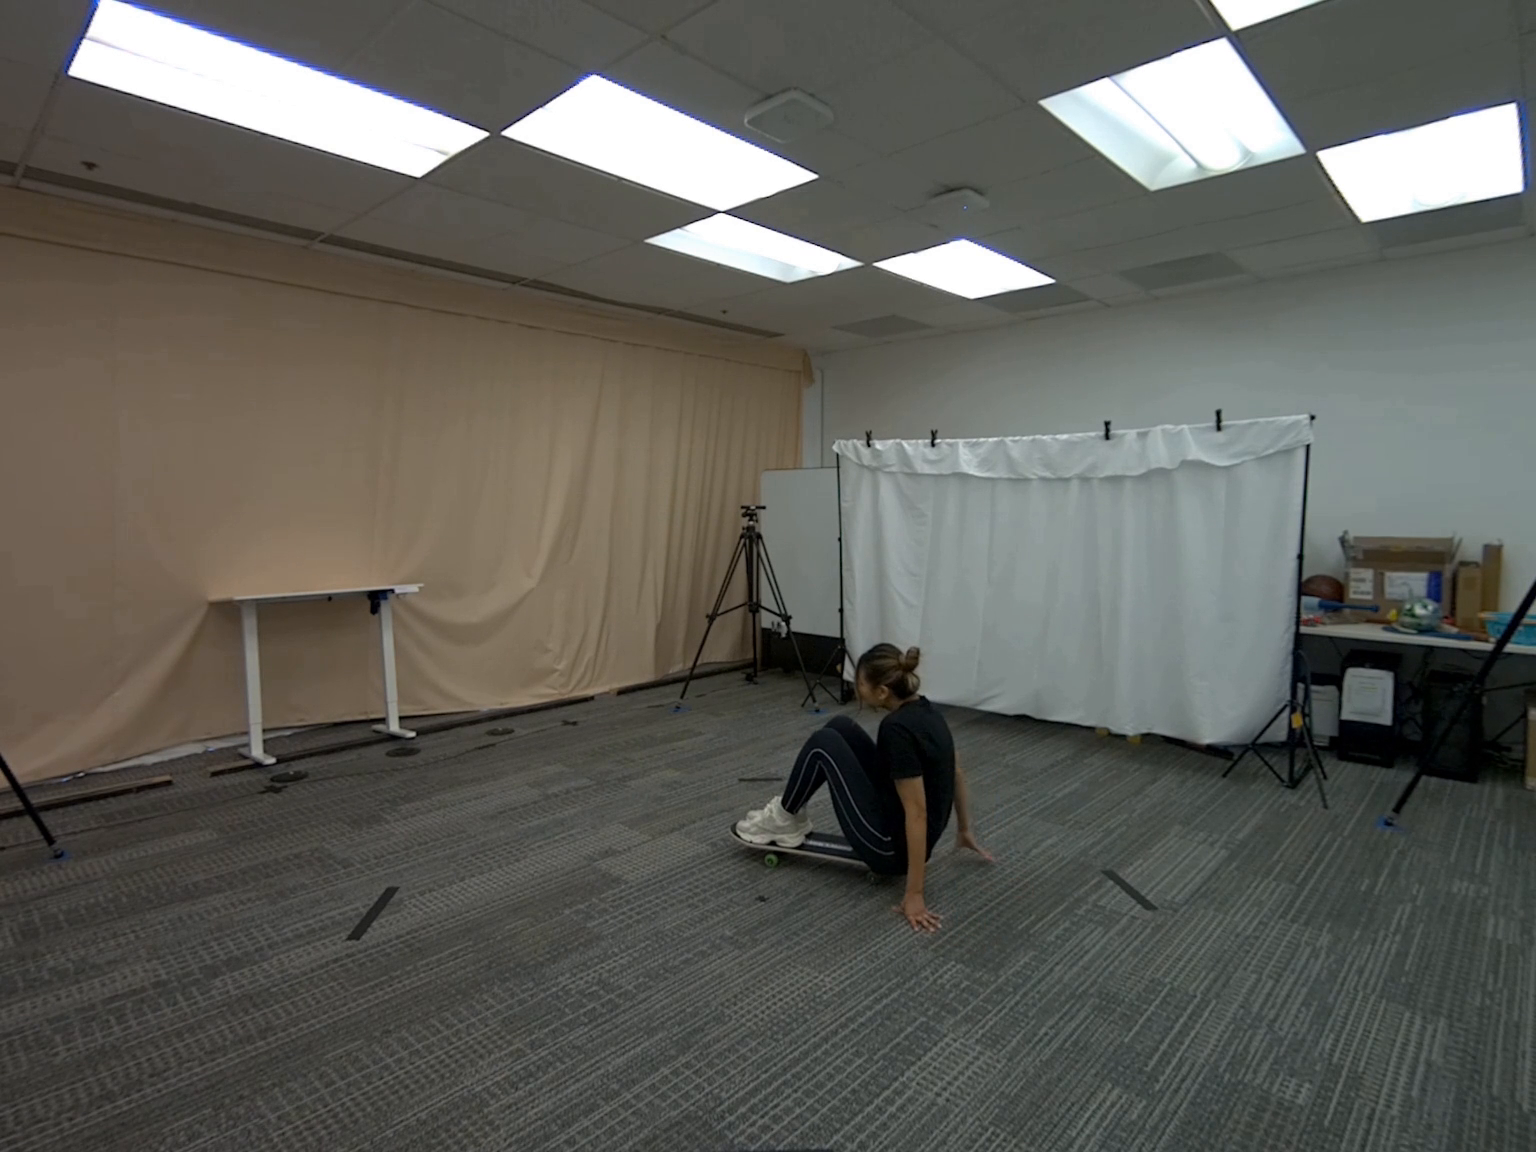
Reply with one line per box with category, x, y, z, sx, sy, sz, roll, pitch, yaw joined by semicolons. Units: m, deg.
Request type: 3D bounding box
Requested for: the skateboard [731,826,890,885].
skateboard;0.236;1.074;3.246;0.803;0.110;0.190;1;4;21
